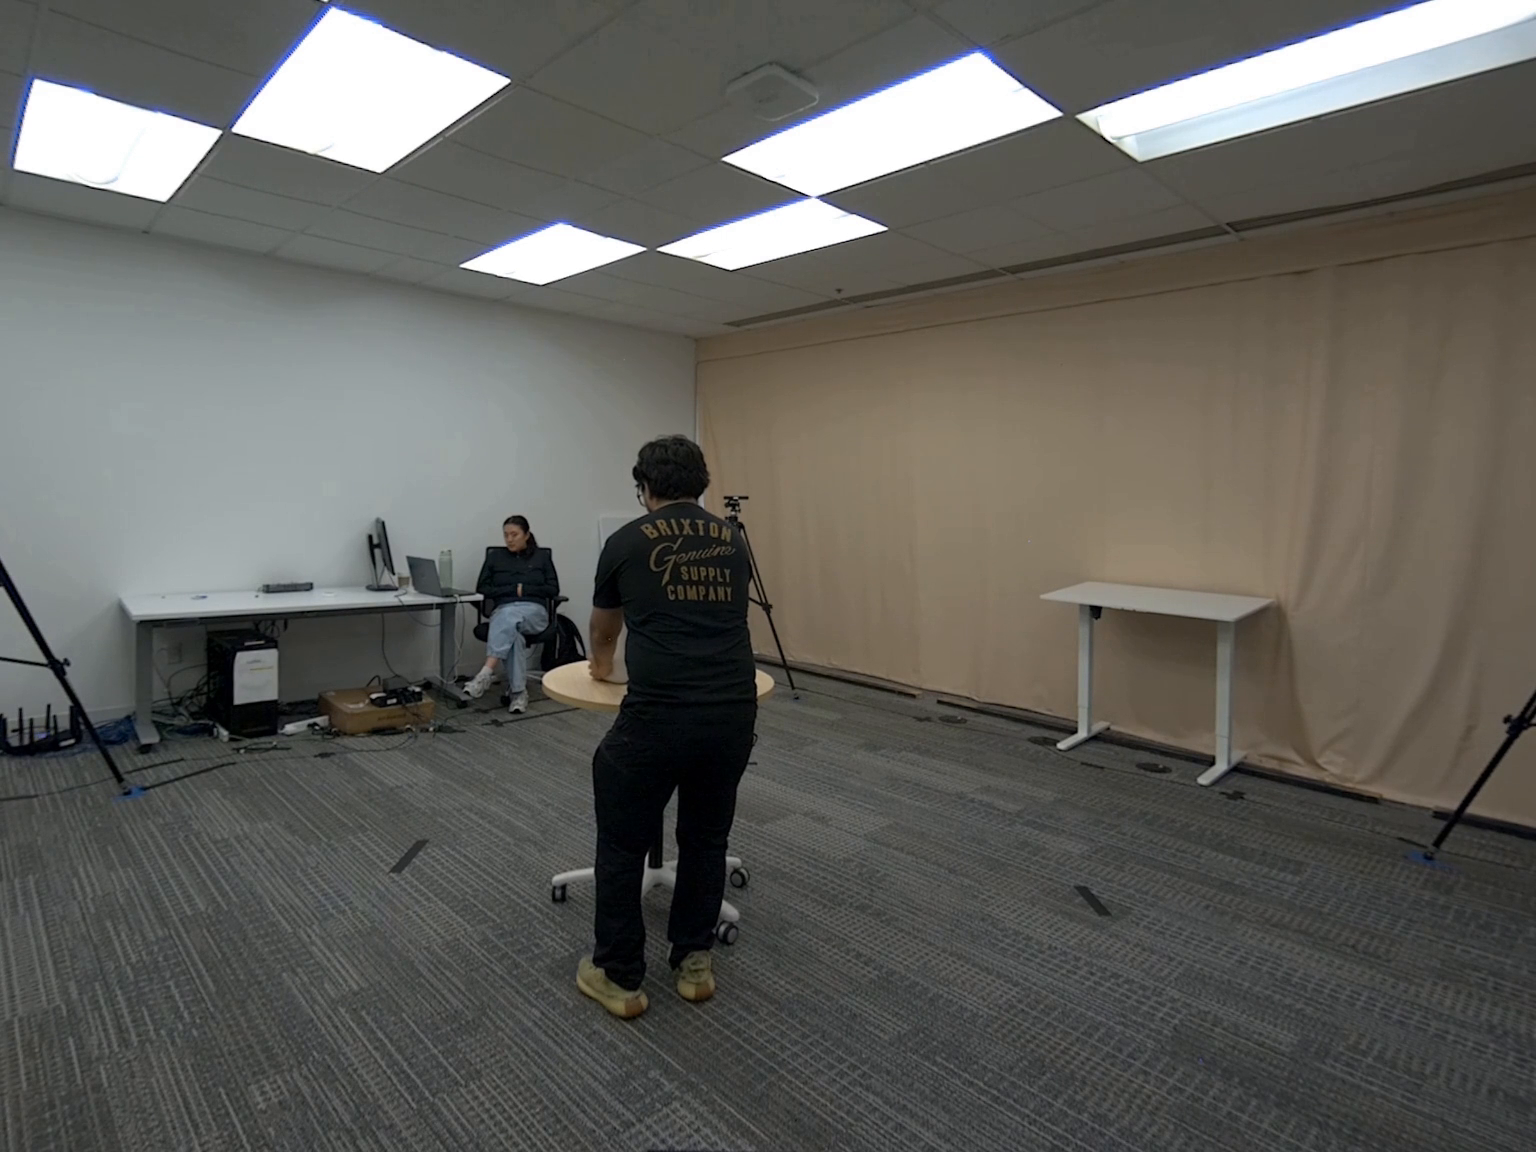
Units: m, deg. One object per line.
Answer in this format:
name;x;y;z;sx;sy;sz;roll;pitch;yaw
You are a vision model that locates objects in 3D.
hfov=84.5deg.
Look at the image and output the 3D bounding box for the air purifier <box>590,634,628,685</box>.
air purifier;-0.473;0.211;2.770;0.176;0.265;0.167;3;4;39
